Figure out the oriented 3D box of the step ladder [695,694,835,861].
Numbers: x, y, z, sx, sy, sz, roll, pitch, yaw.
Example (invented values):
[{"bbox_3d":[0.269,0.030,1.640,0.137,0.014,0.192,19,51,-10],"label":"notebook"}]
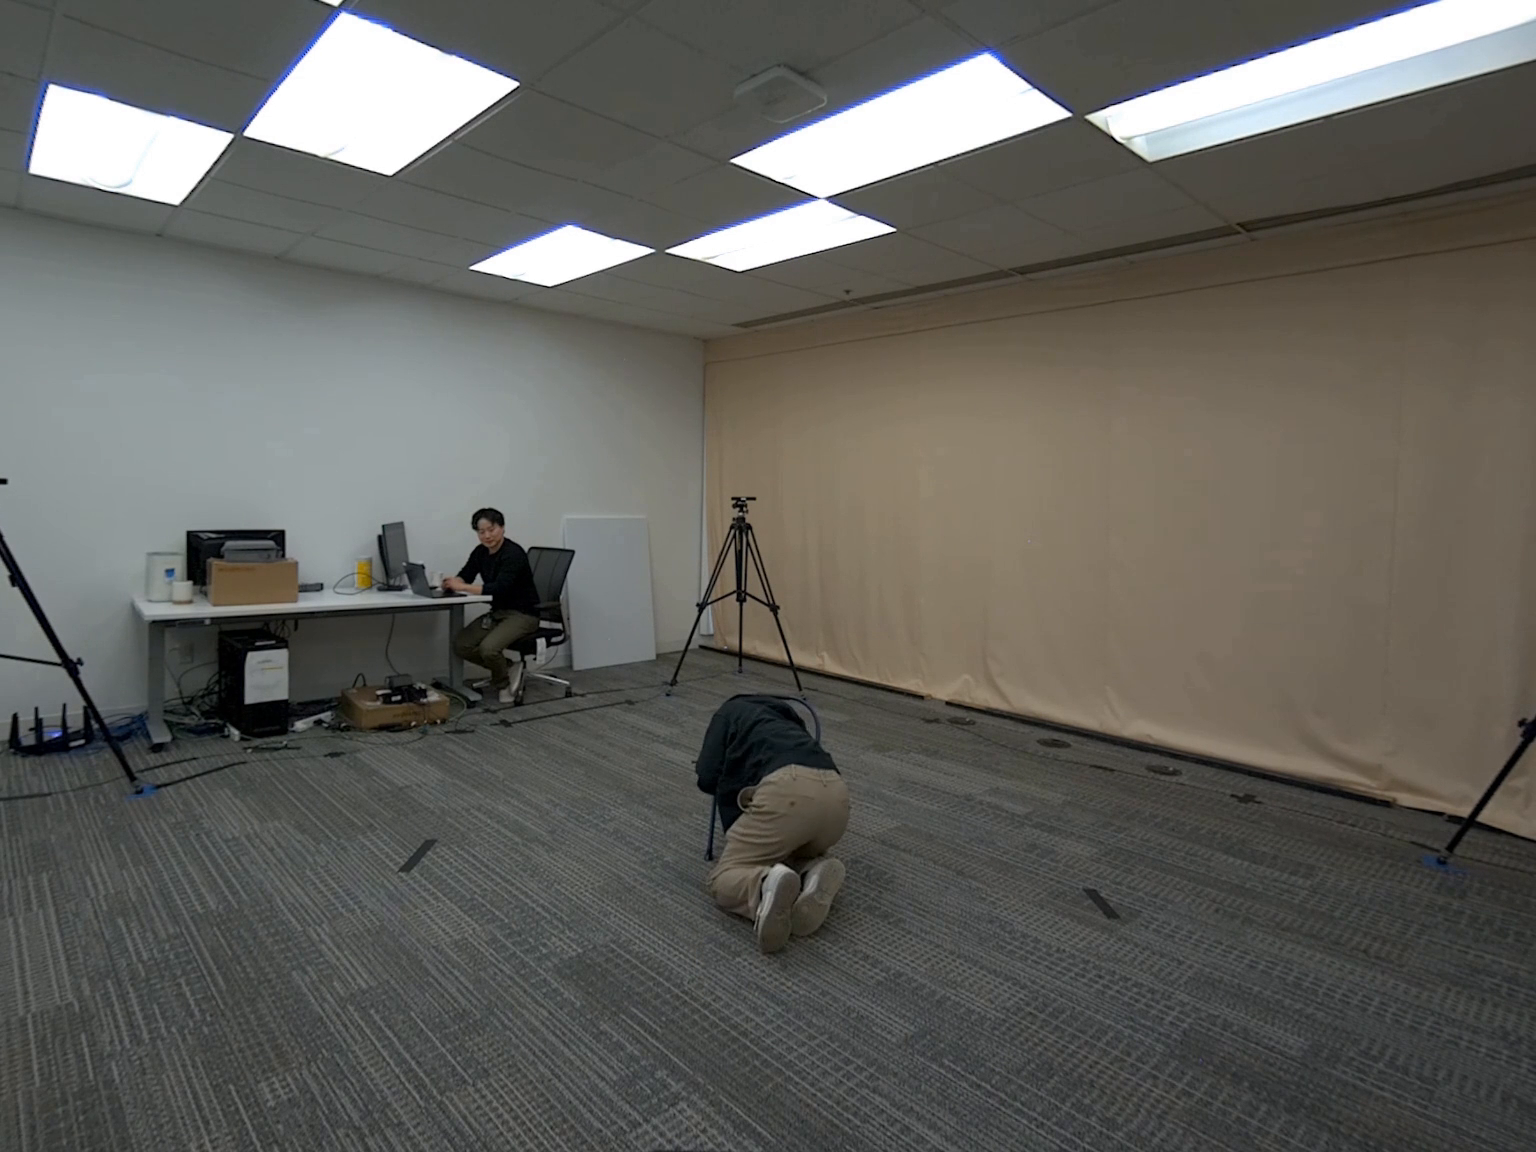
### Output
[{"bbox_3d":[-0.007,0.789,3.350,0.434,0.604,0.348,3,5,9],"label":"step ladder"}]
